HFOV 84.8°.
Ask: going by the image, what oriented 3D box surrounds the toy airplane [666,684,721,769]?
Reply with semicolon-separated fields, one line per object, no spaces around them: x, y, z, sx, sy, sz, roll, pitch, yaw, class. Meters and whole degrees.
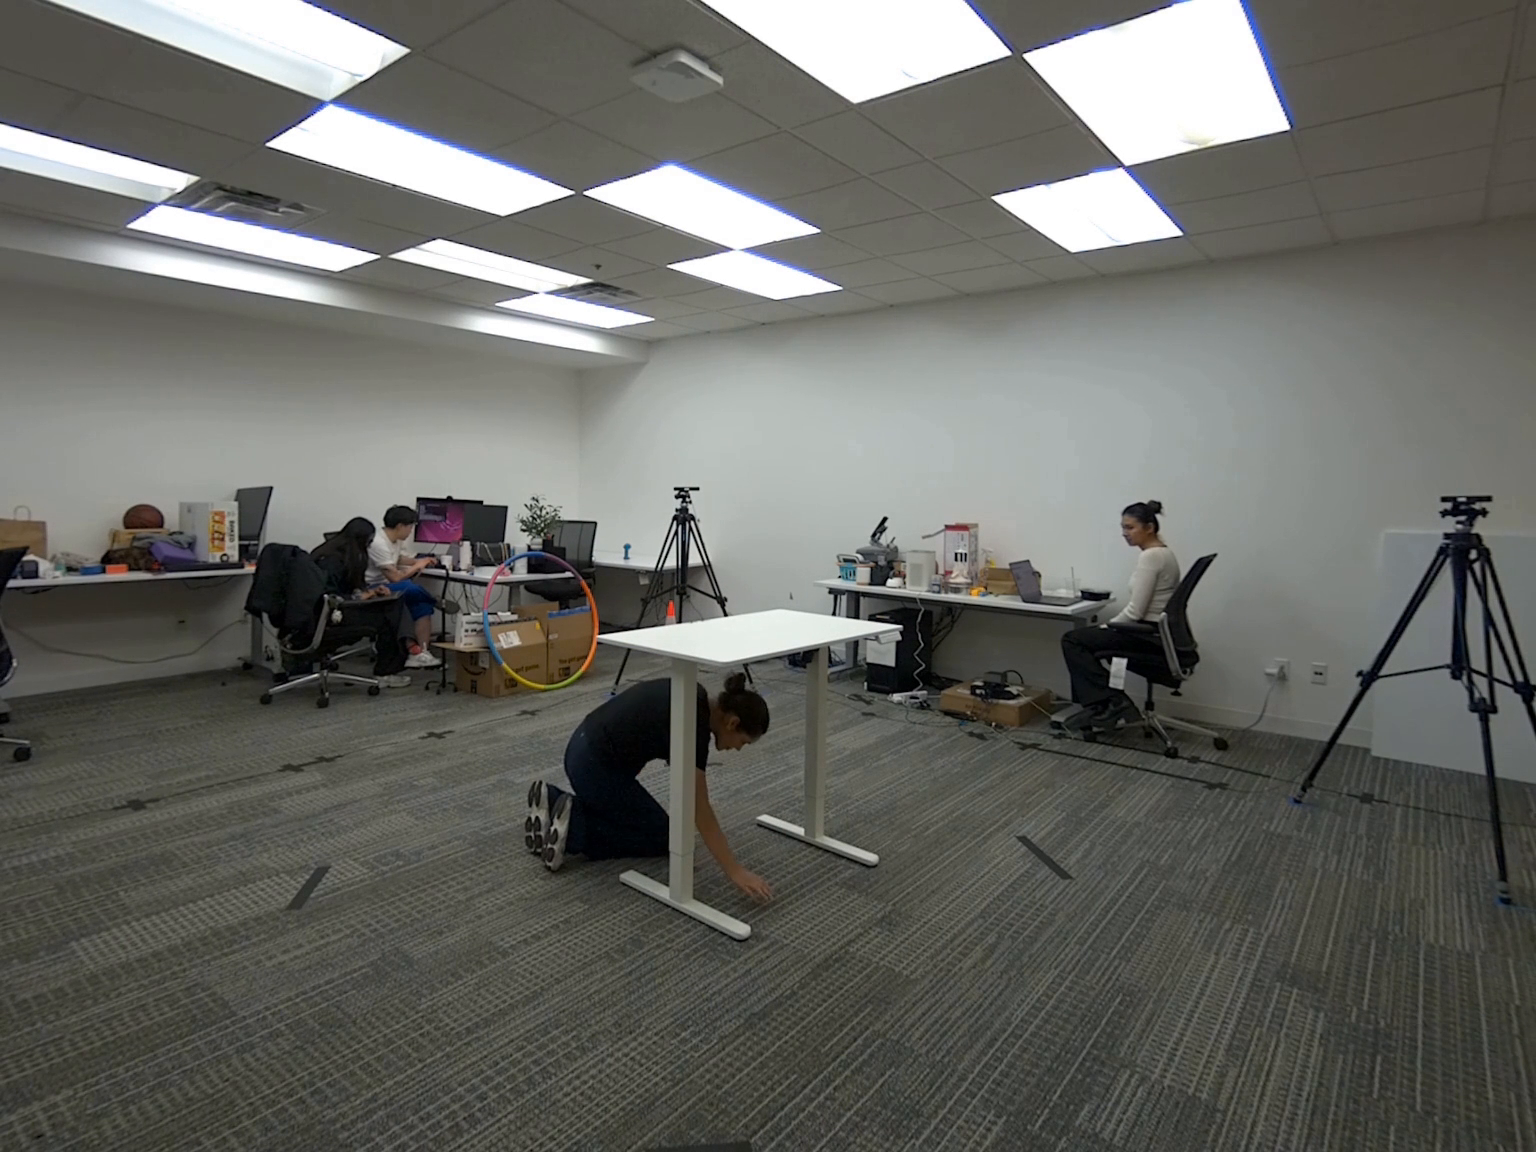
-0.344;0.600;3.370;0.251;0.258;0.157;20;-42;-28;toy airplane
